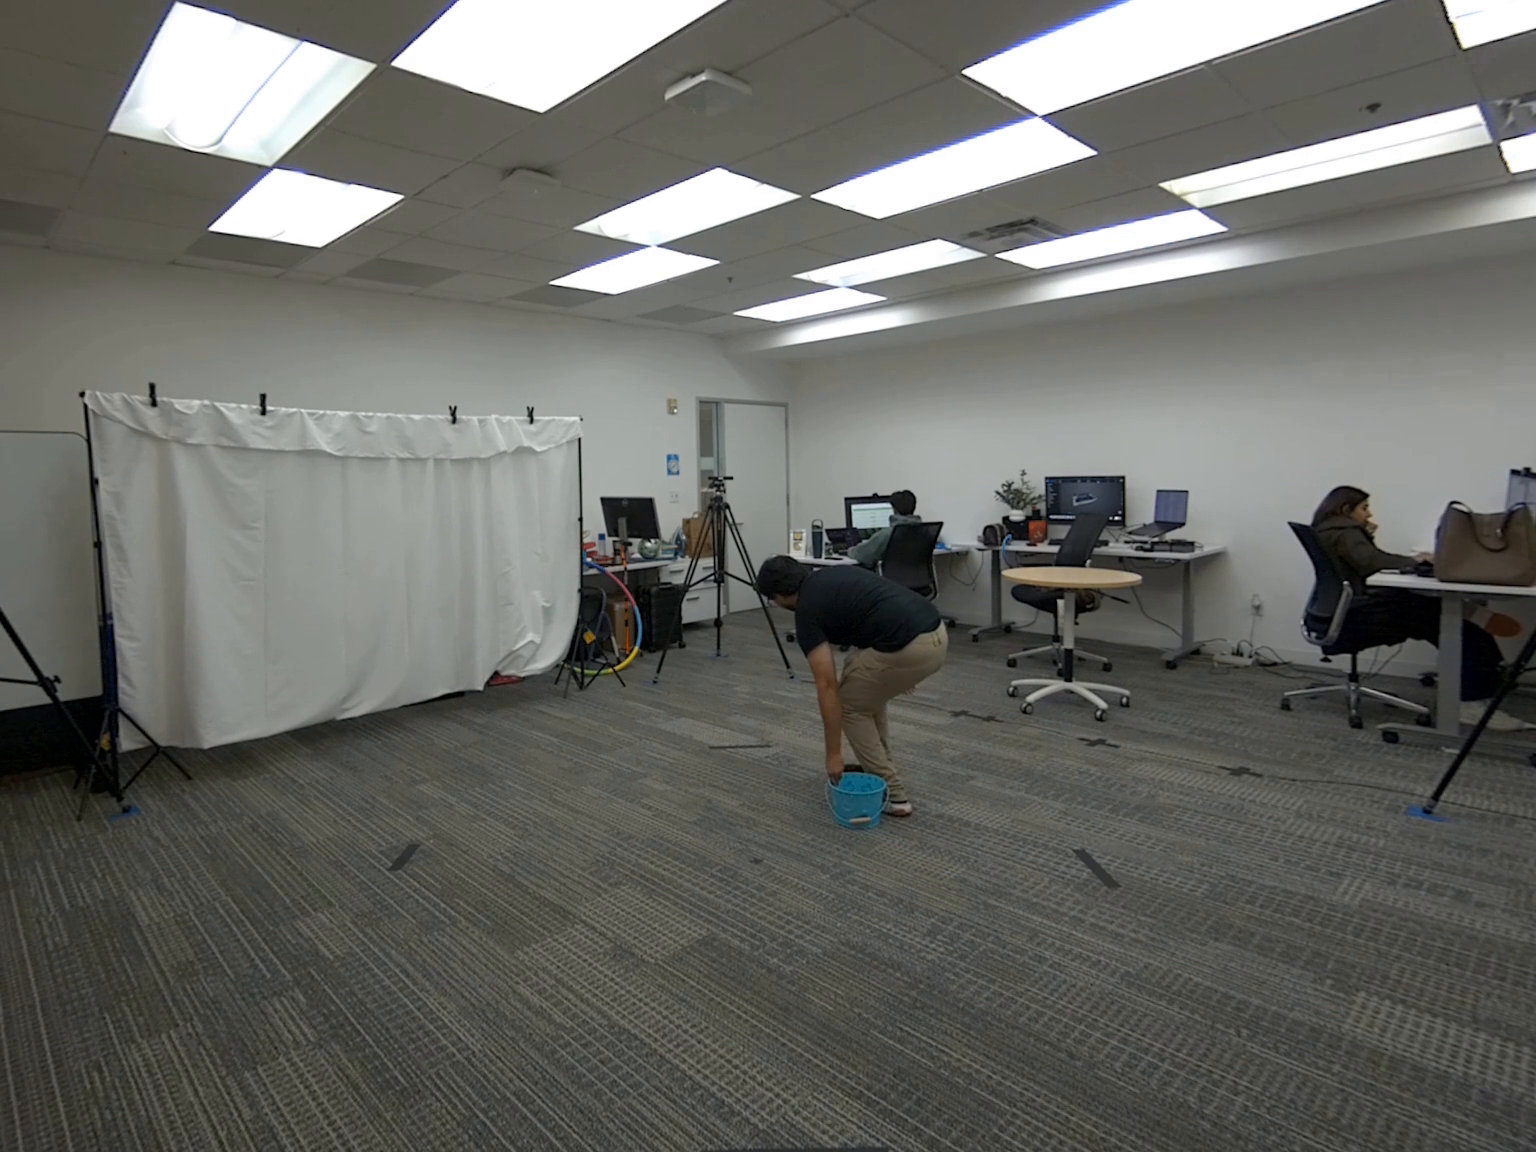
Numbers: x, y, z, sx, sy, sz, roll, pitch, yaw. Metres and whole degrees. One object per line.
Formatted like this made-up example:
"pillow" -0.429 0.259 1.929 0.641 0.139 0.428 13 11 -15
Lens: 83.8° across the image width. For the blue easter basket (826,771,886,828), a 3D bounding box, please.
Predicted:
"blue easter basket" 0.358 0.909 3.462 0.243 0.155 0.245 -1 6 -2
